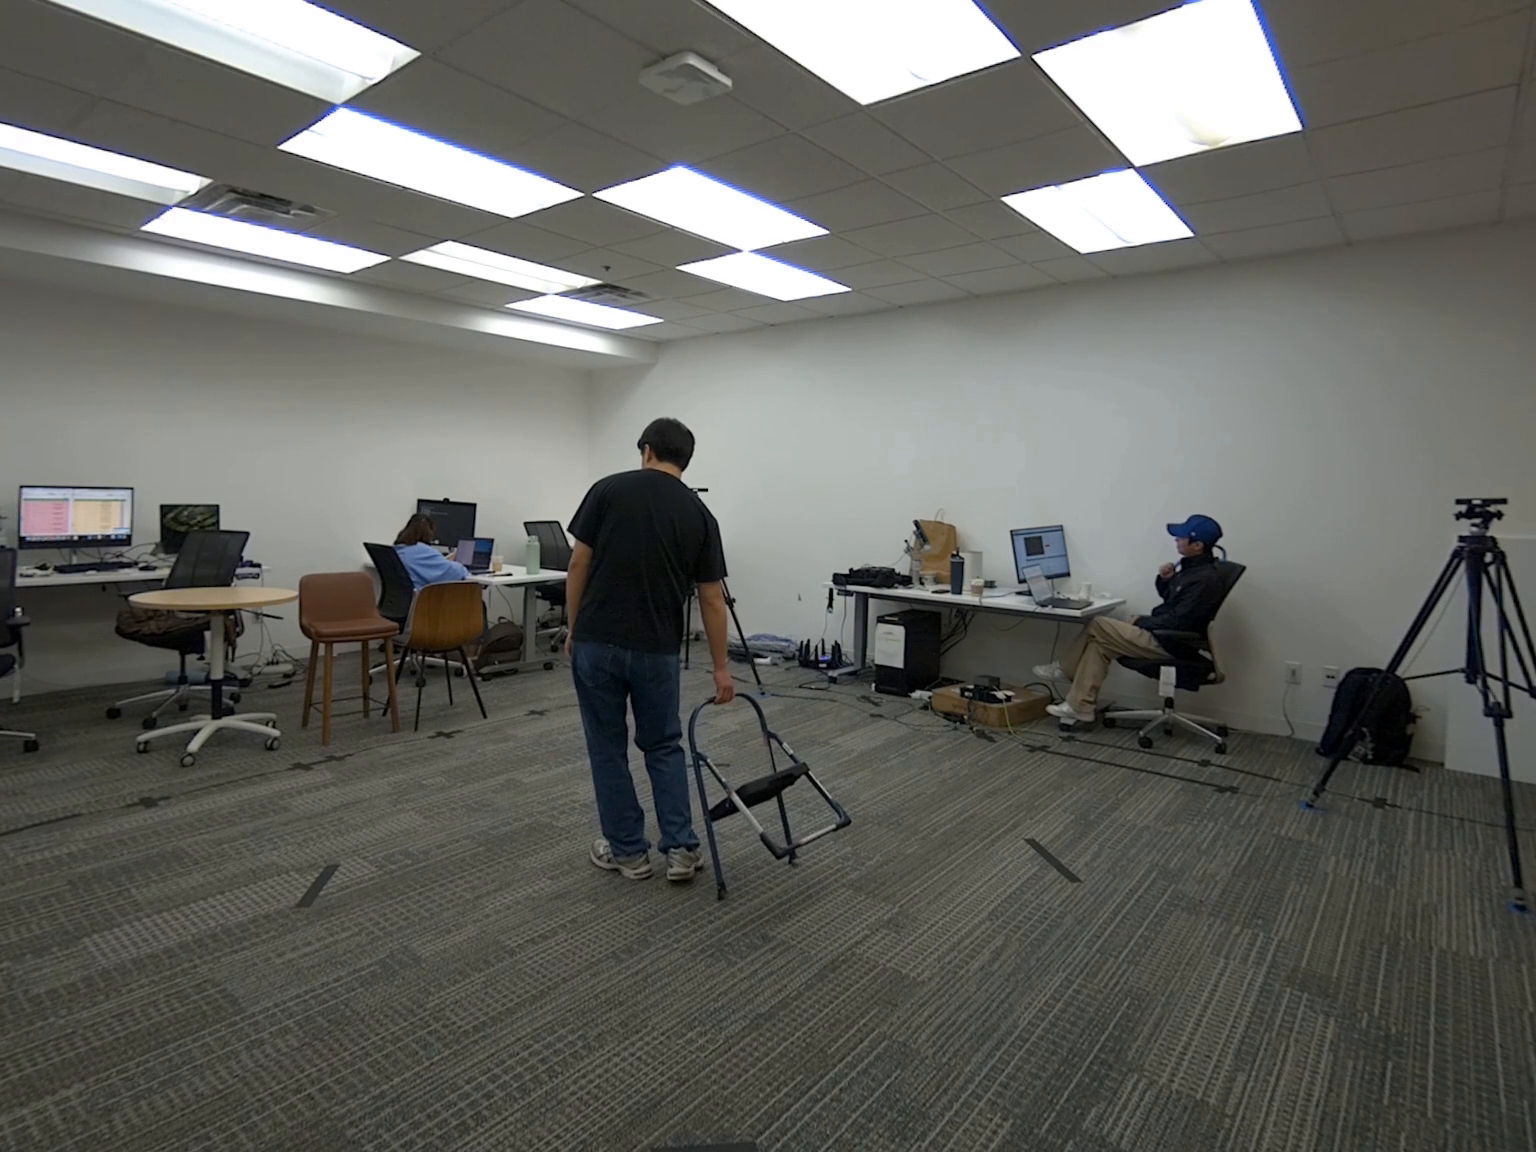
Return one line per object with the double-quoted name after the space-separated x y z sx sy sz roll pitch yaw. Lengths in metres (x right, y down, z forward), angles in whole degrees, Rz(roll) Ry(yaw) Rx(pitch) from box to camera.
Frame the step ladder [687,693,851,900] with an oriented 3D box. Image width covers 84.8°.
-0.083 0.734 3.053 0.418 0.624 0.350 -3 -34 -49 "step ladder"
